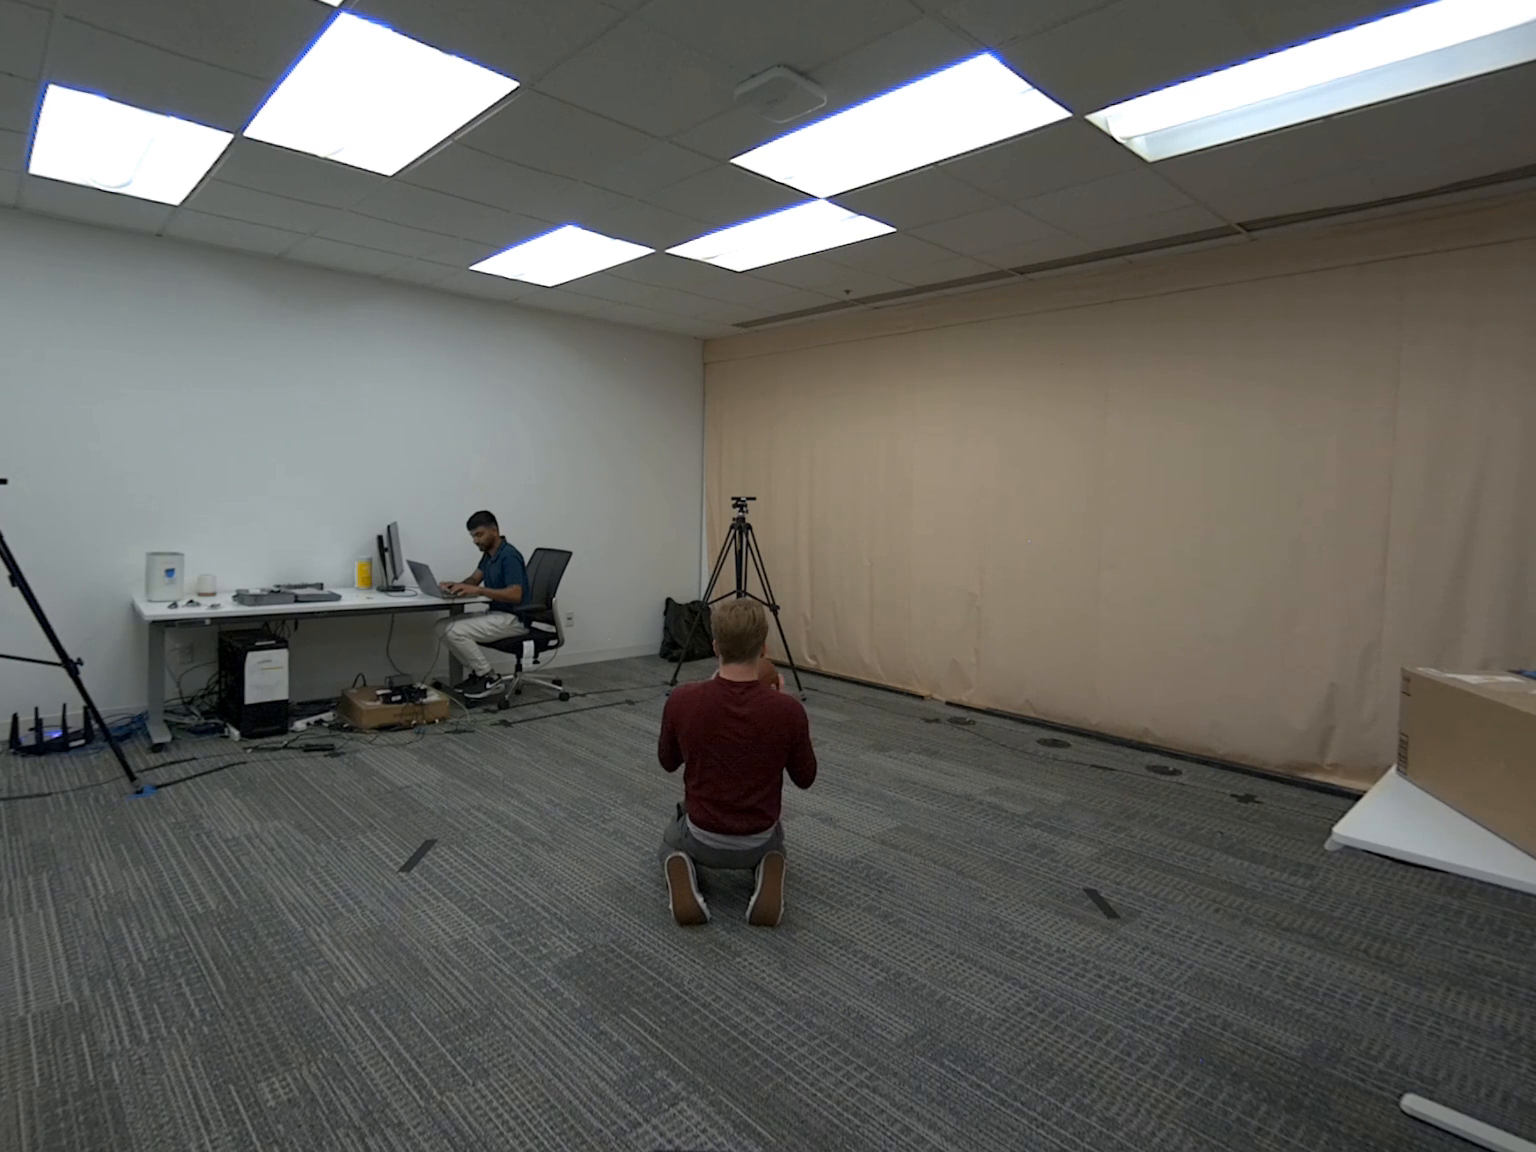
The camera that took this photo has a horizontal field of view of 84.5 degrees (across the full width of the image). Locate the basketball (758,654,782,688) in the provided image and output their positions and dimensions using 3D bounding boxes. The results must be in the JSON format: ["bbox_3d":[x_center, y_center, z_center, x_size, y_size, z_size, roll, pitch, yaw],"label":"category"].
[{"bbox_3d":[-0.074,0.421,3.134,0.236,0.235,0.237,1,4,-1],"label":"basketball"}]
